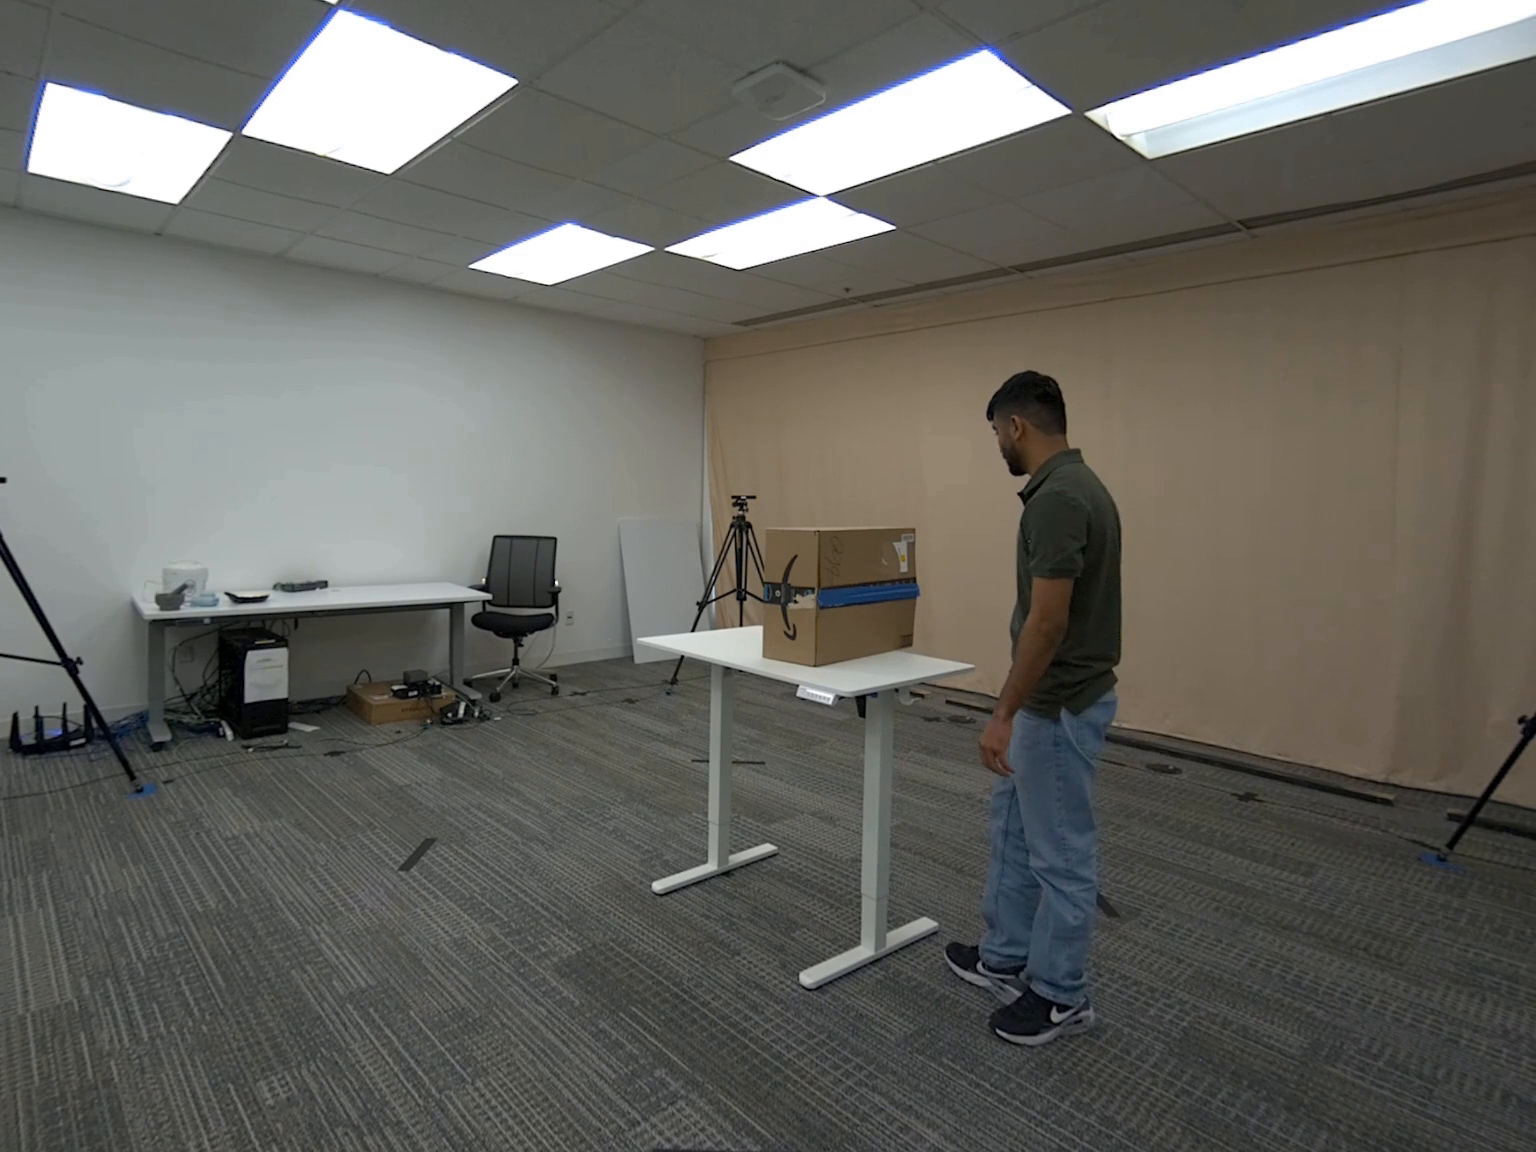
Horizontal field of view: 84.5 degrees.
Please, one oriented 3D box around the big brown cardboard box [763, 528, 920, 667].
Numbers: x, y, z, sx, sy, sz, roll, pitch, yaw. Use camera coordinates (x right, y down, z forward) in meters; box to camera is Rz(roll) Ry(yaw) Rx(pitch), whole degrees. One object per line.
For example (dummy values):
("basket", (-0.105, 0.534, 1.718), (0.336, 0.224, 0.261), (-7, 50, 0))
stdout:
("big brown cardboard box", (0.250, 0.051, 2.813), (0.239, 0.417, 0.576), (3, 5, 43))
